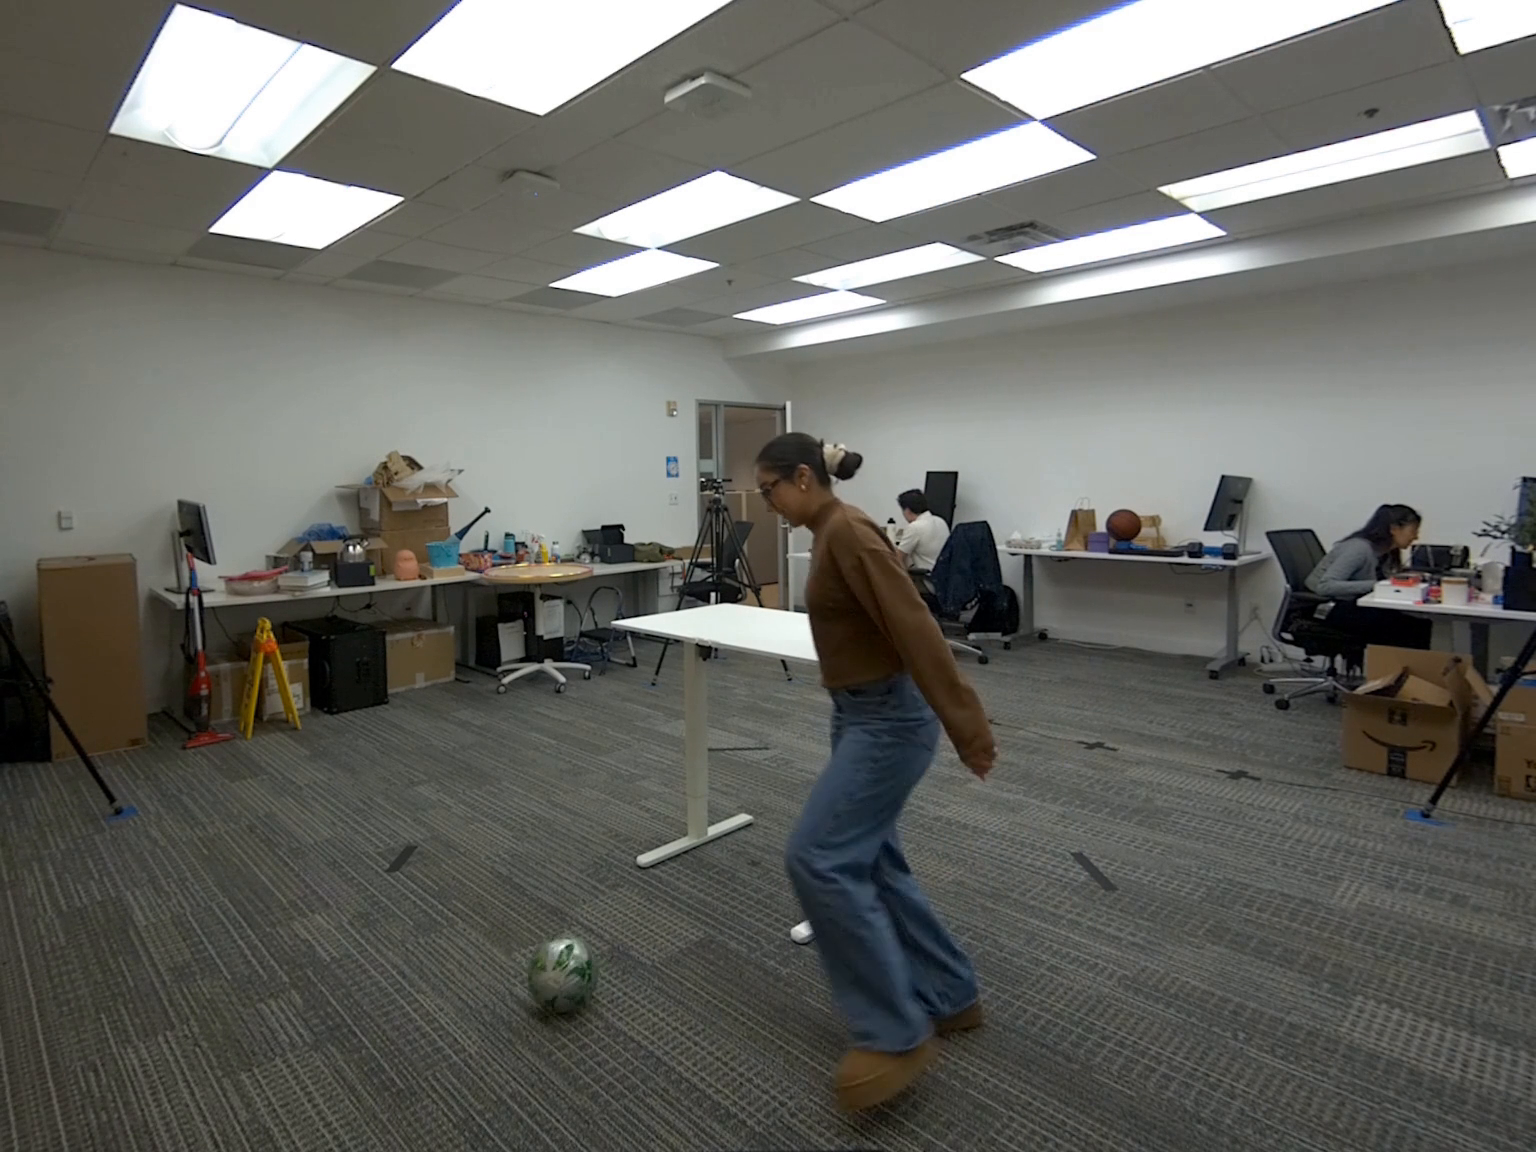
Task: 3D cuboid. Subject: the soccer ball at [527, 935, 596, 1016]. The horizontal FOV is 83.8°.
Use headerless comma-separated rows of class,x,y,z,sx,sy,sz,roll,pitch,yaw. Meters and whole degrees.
soccer ball,-0.538,1.060,2.277,0.187,0.187,0.188,-1,5,-2
